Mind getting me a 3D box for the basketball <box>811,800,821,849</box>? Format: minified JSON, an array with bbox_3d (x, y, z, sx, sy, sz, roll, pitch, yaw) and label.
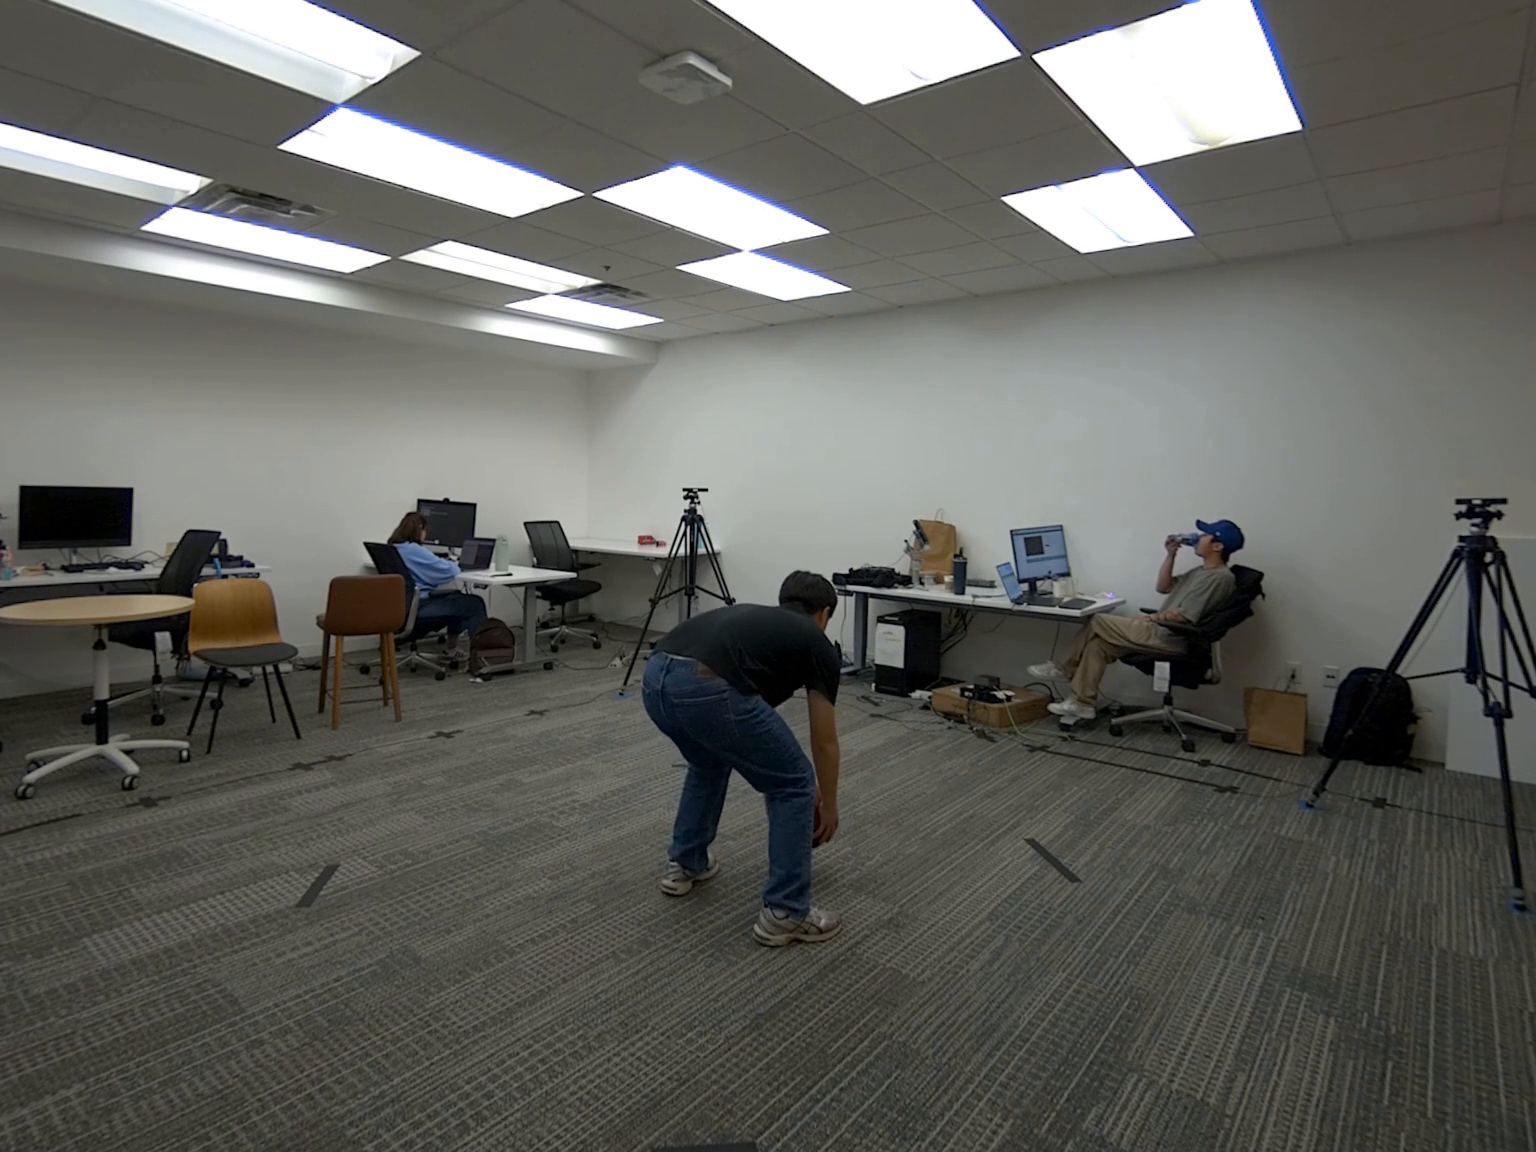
[{"bbox_3d":[0.117,0.865,3.087,0.235,0.235,0.237,1,4,-2],"label":"basketball"}]
